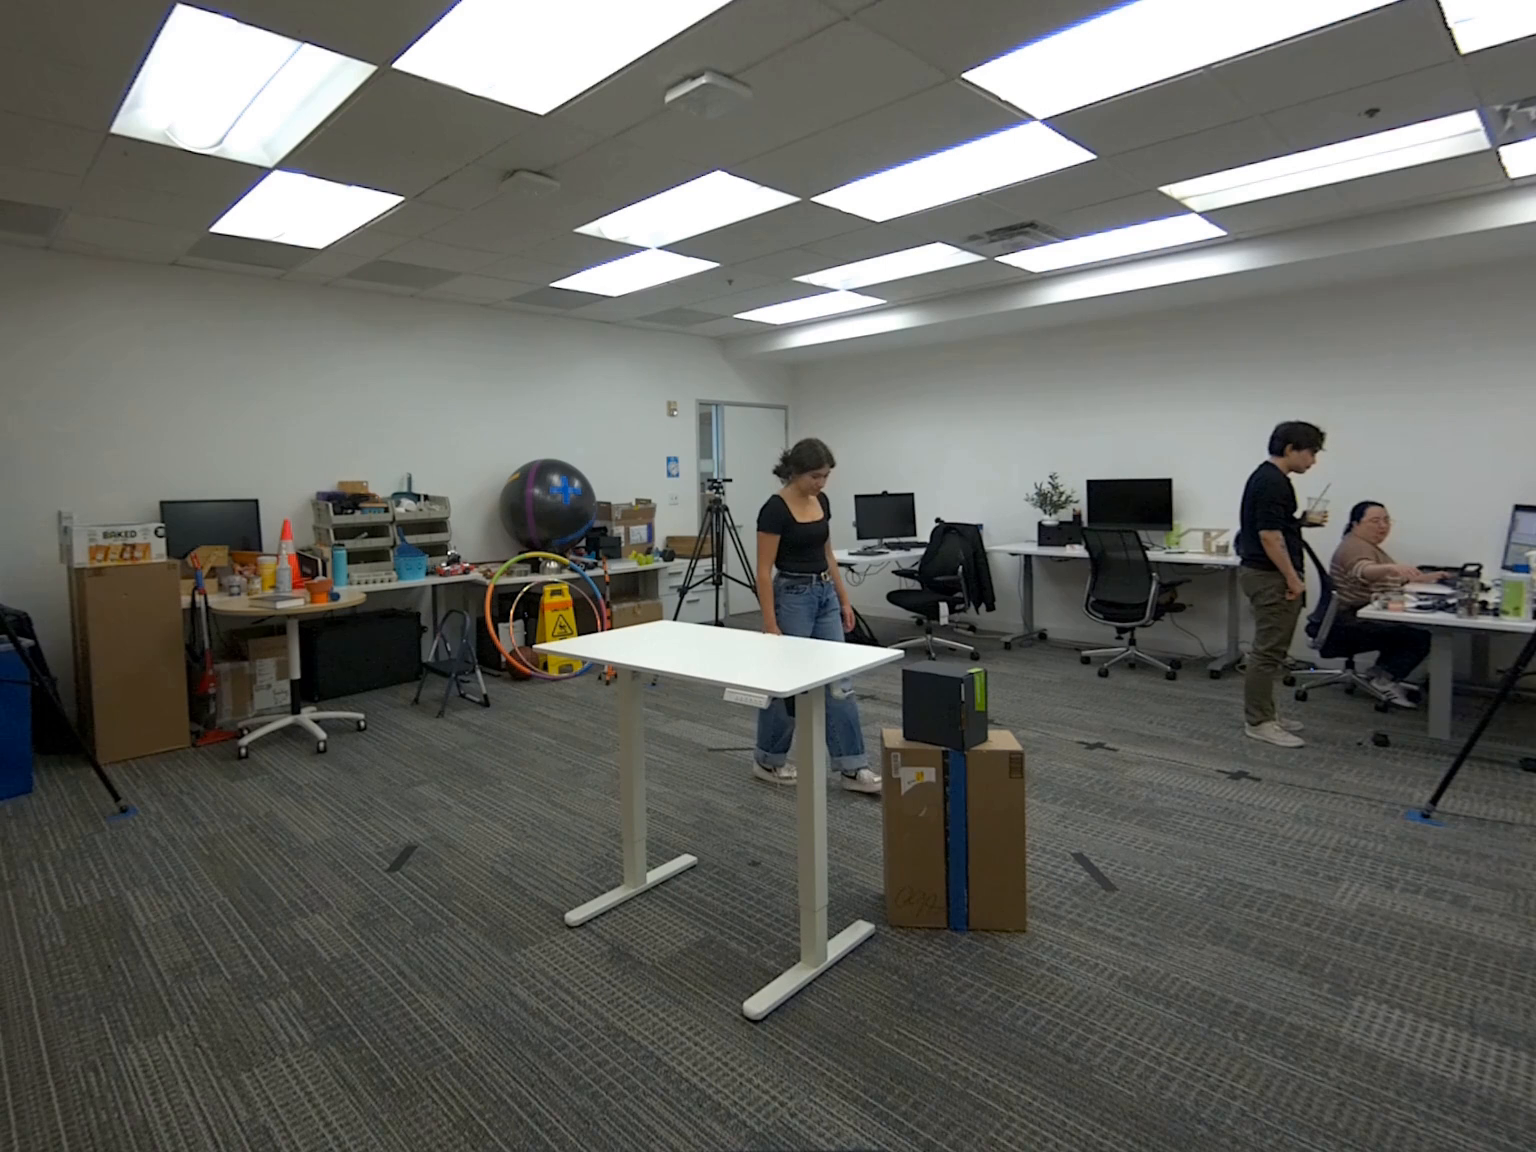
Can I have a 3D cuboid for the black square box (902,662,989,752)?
[{"bbox_3d":[0.550,0.403,2.689,0.223,0.227,0.152,3,6,44],"label":"black square box"}]
